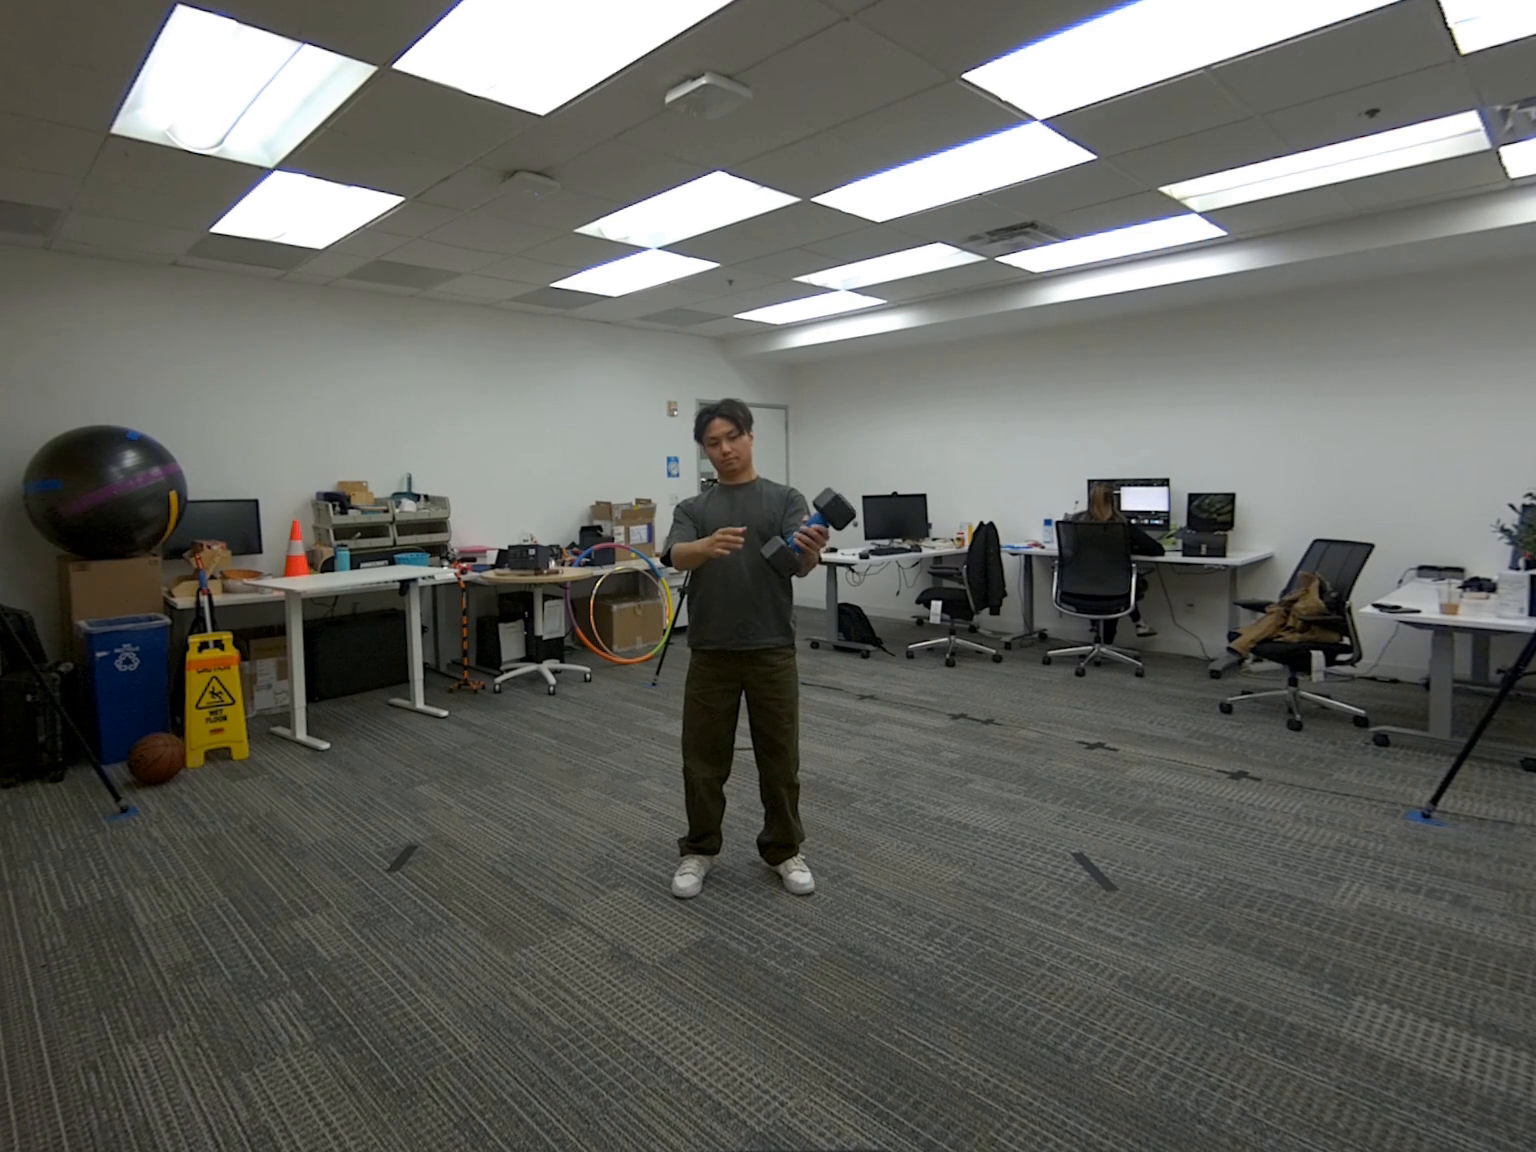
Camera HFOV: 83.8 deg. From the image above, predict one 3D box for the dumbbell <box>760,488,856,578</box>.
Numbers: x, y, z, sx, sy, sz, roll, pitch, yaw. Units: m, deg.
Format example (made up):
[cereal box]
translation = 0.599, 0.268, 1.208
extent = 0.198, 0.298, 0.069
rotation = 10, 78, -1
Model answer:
[dumbbell]
translation = 0.115, -0.125, 2.495
extent = 0.293, 0.123, 0.109
rotation = -43, 2, 2
